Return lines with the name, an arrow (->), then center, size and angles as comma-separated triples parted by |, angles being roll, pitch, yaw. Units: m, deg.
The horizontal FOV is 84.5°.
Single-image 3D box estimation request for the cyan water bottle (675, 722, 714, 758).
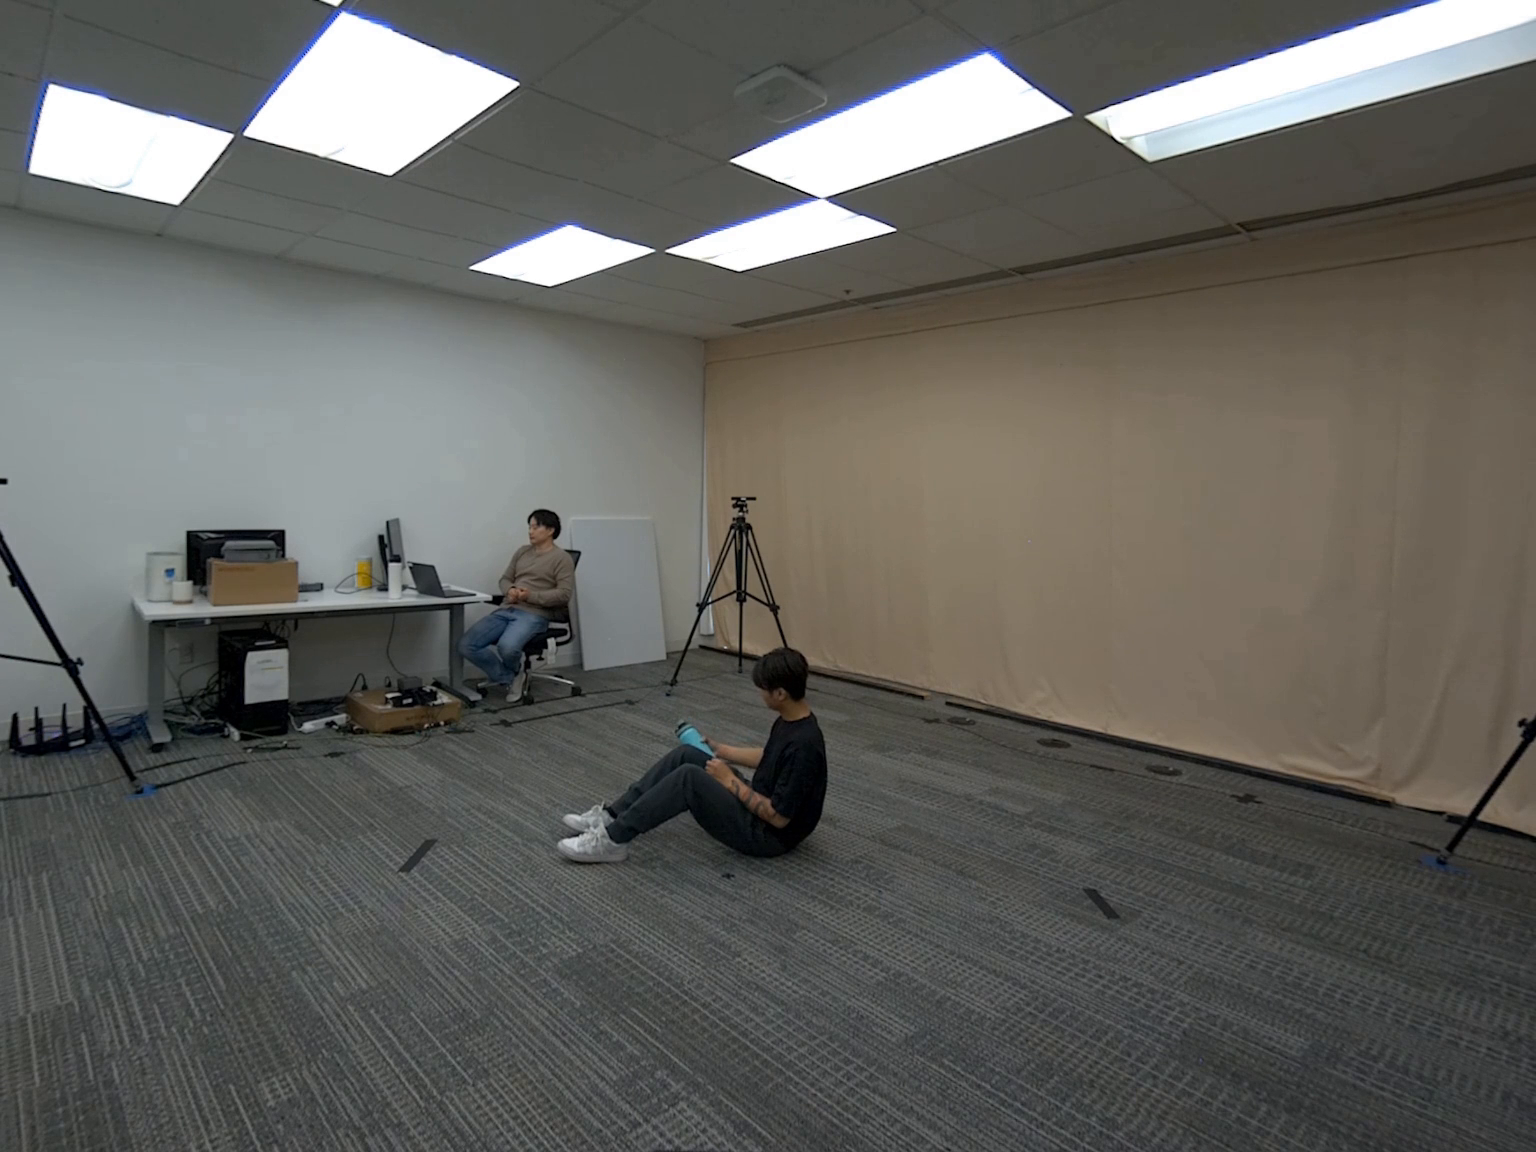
cyan water bottle -> -0.325, 0.760, 3.710 | 0.092, 0.290, 0.091 | -31, -23, -16
